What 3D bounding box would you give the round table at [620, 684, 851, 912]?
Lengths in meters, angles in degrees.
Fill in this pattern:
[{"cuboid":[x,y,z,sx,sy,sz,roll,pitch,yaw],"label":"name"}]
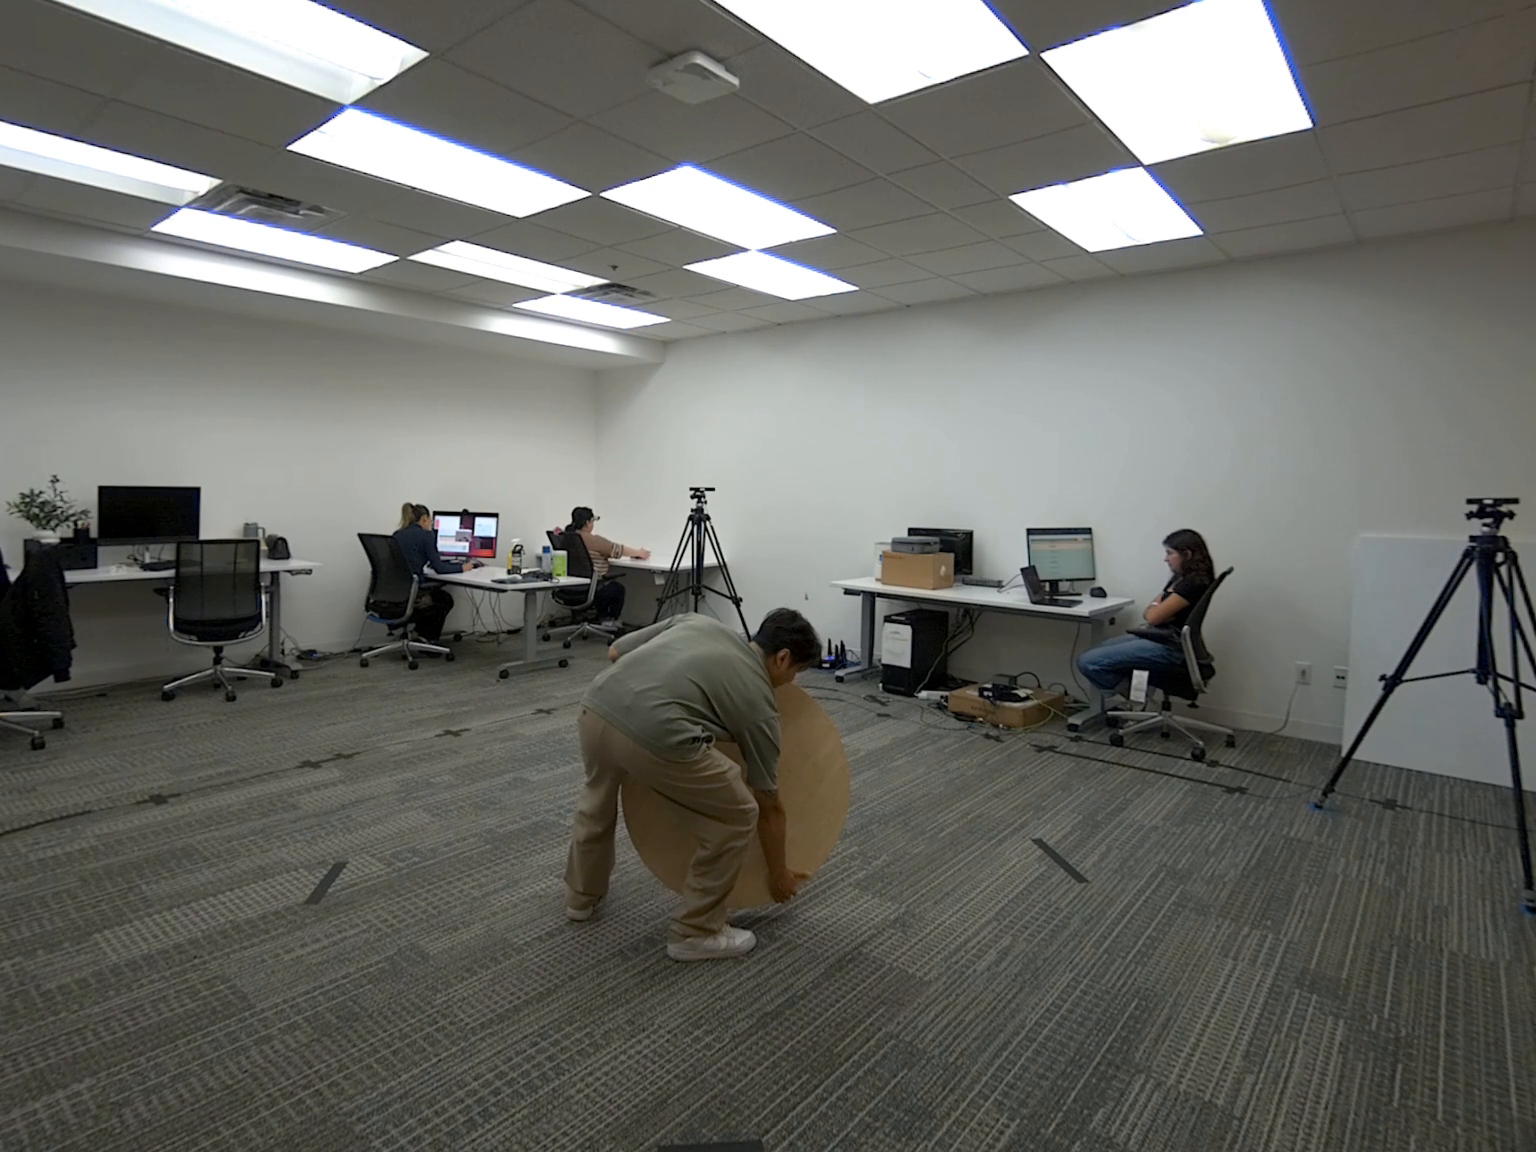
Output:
[{"cuboid":[-0.186,0.707,3.188,0.776,0.790,0.791,0,-5,-11],"label":"round table"}]
